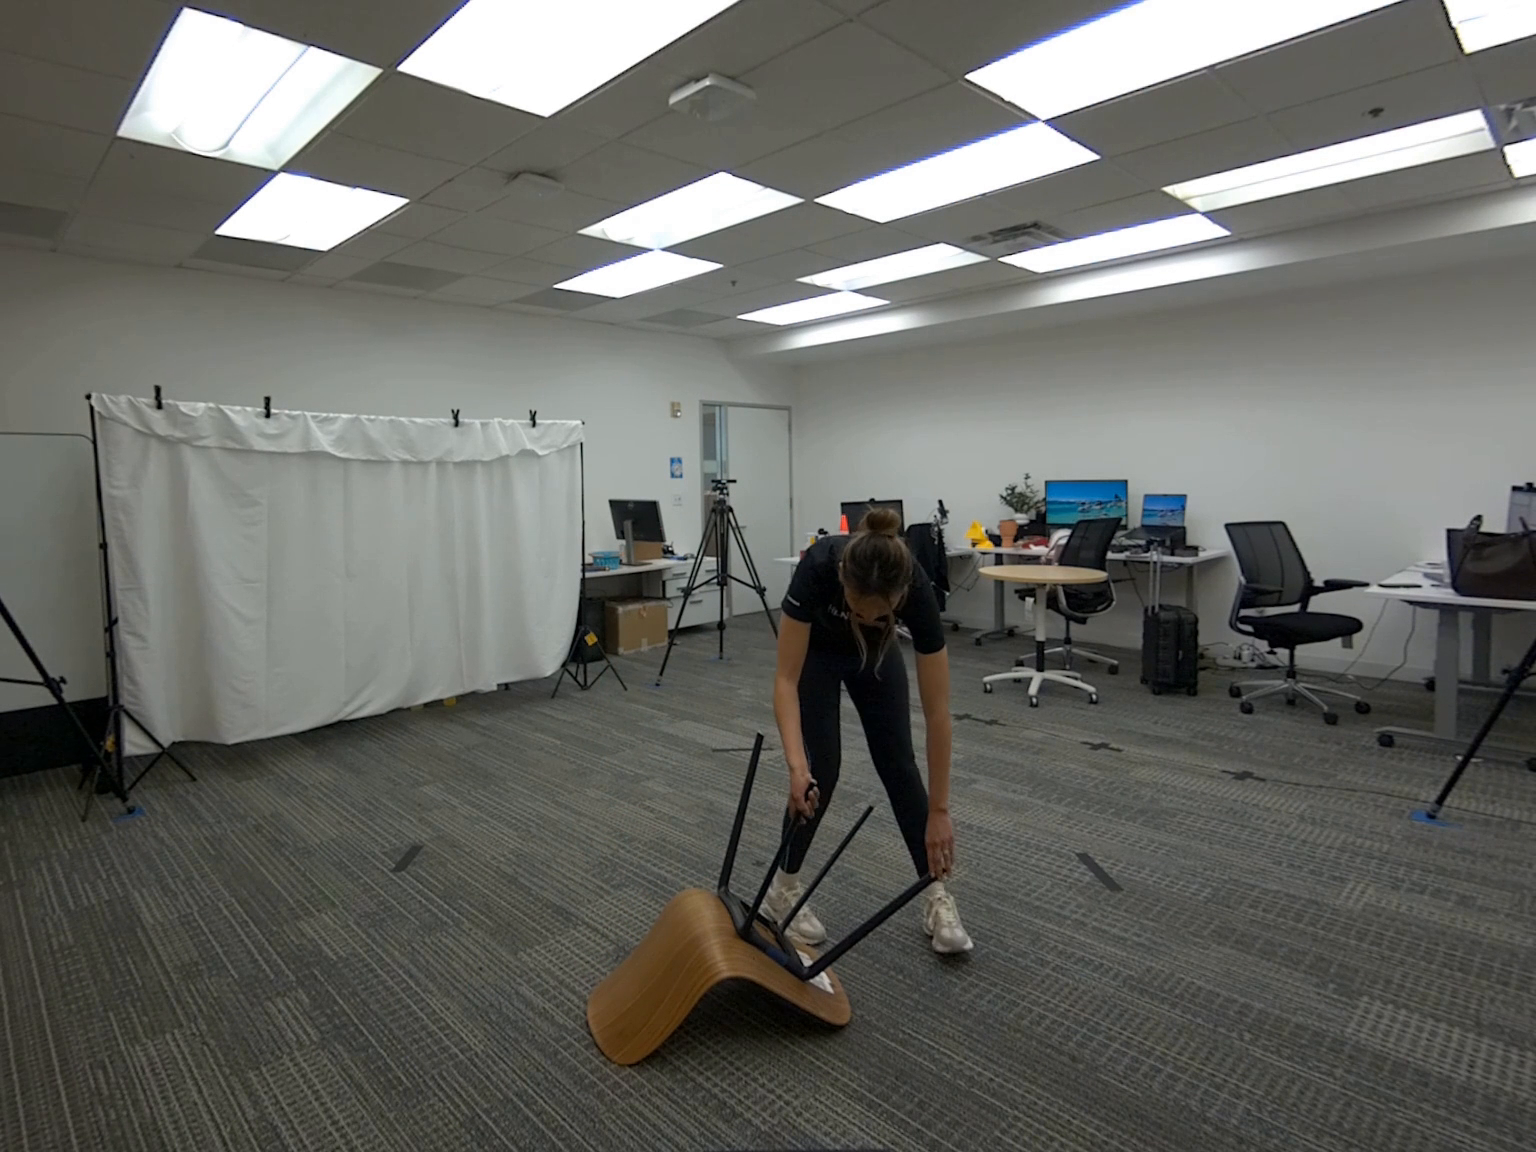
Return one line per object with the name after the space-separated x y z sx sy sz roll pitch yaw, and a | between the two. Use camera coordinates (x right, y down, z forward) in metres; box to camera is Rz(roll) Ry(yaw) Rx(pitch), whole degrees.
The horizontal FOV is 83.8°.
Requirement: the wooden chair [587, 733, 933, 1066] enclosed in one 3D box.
-0.007 0.969 2.311 0.513 0.878 0.487 39 -7 -15 | wooden chair
